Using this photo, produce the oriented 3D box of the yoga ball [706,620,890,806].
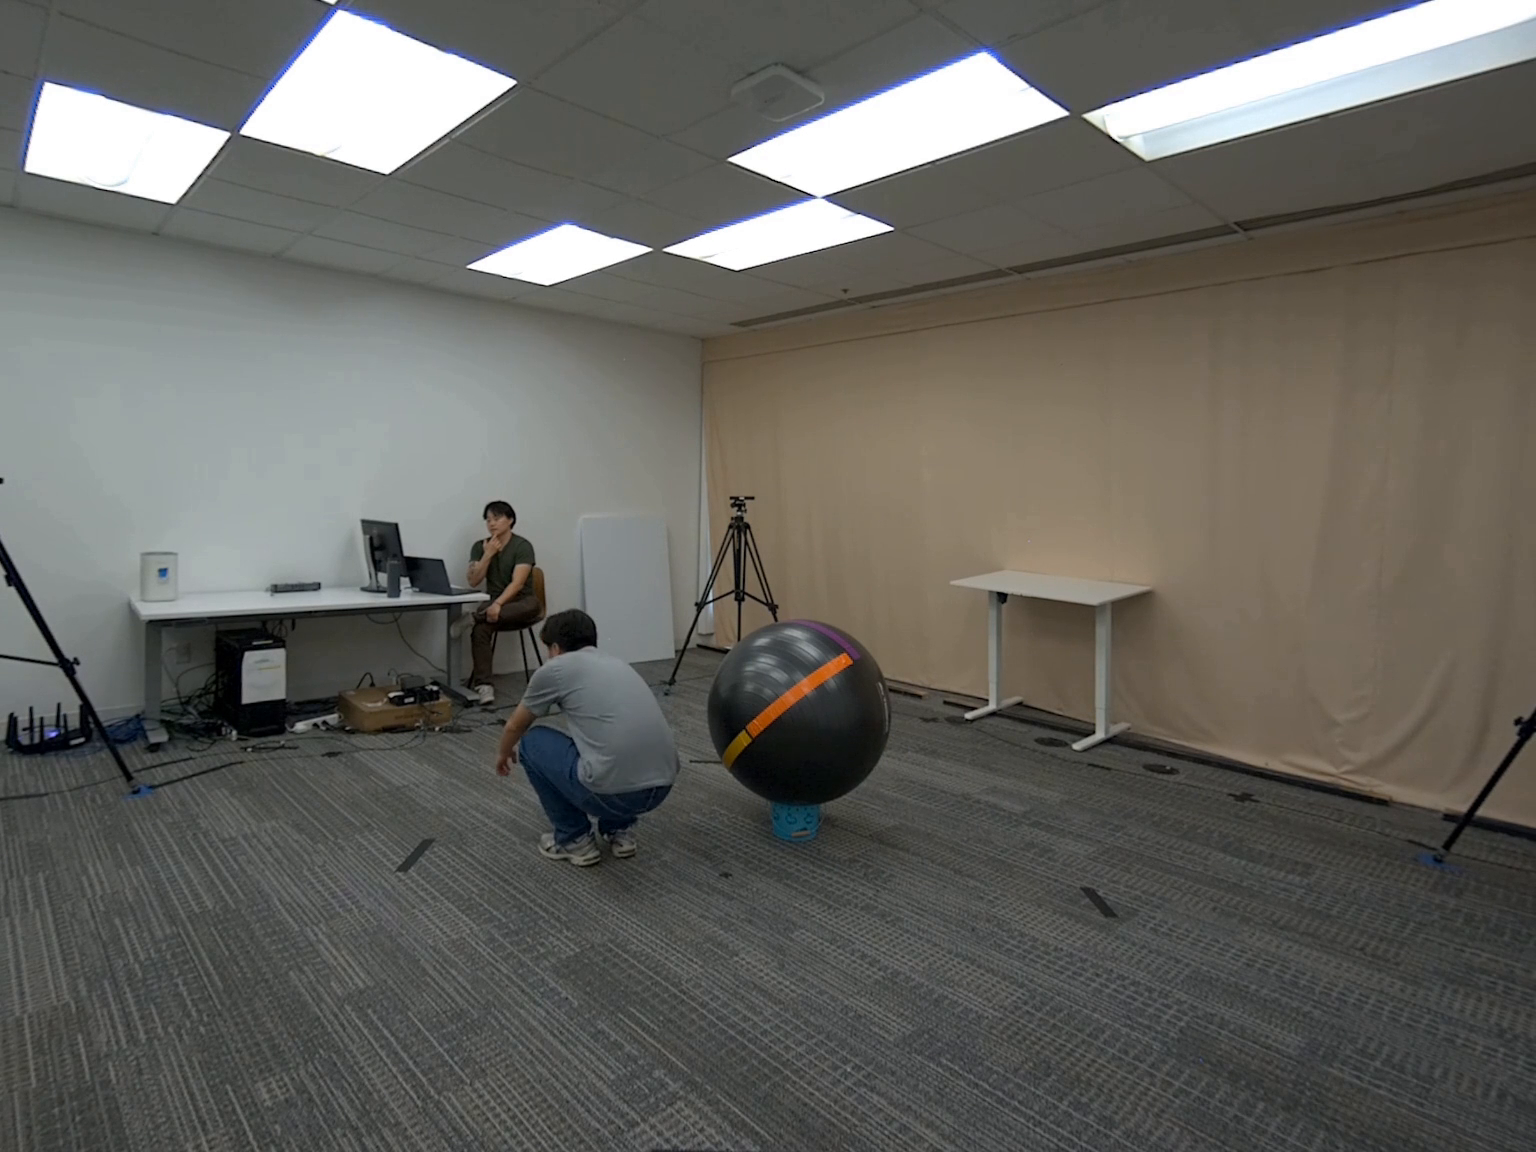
[{"bbox_3d":[0.125,0.563,3.504,0.757,0.756,0.761,1,4,-1],"label":"yoga ball"}]
